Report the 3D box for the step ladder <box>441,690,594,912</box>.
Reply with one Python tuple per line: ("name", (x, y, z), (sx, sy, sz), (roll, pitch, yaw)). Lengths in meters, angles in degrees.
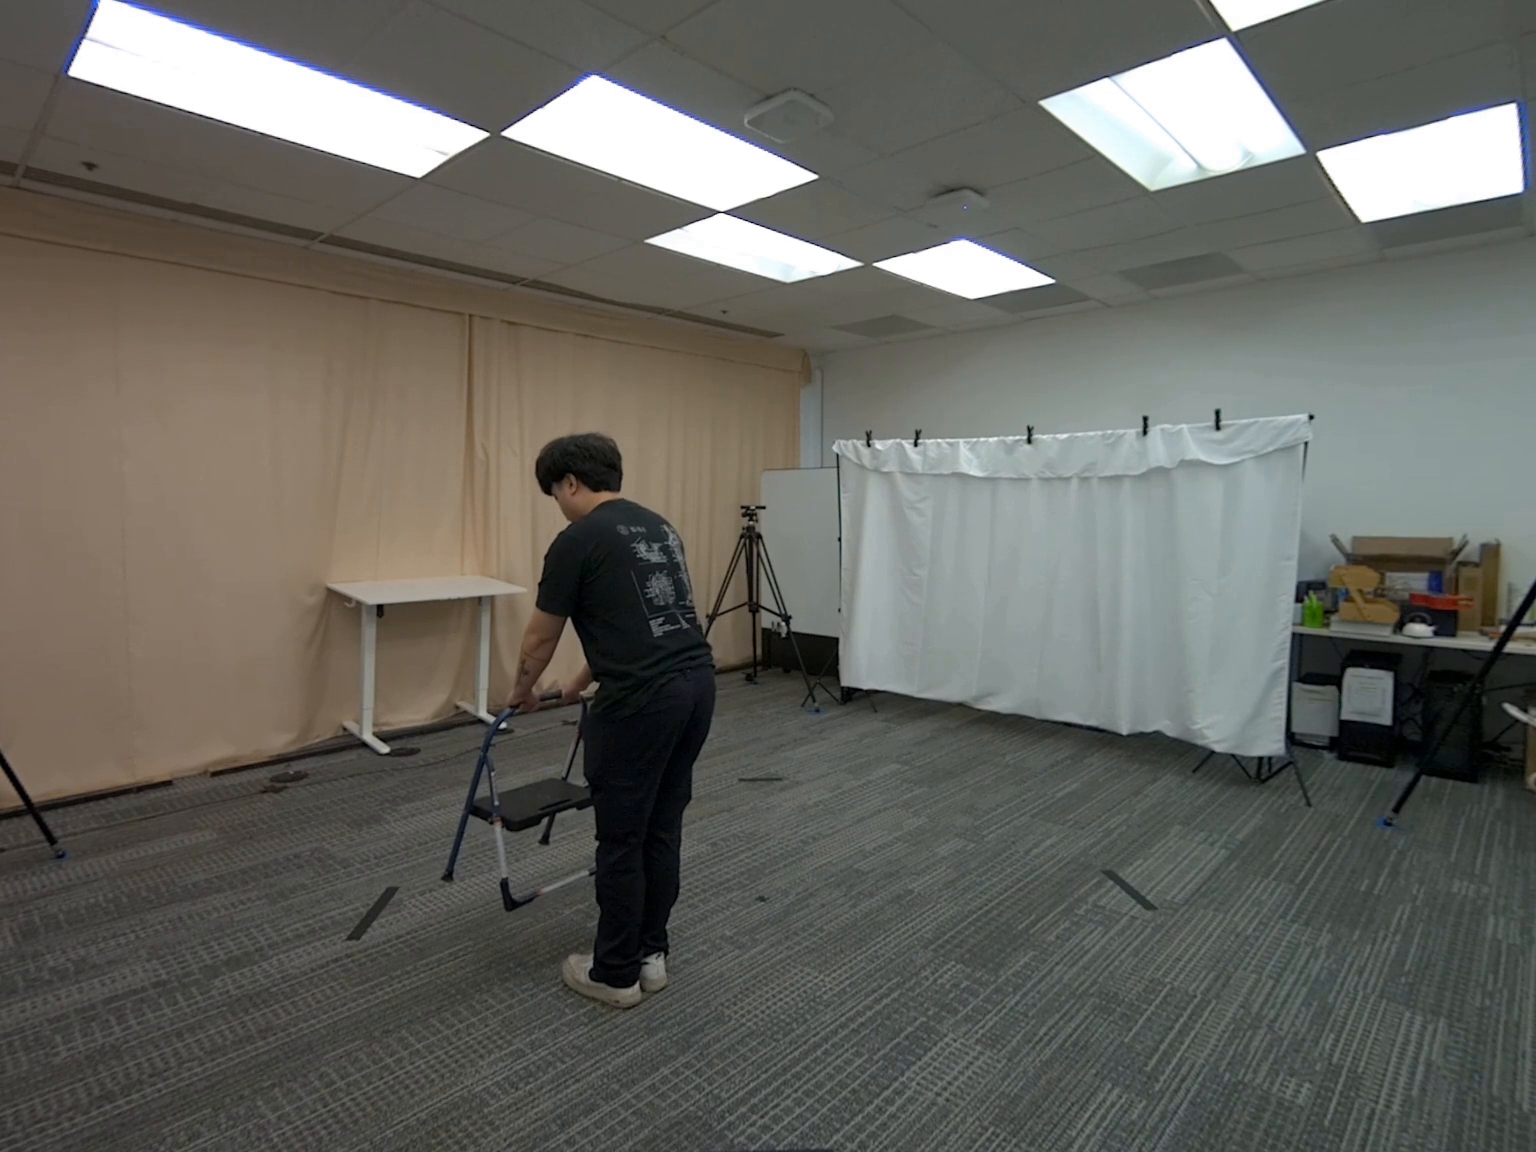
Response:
("step ladder", (-0.770, 0.675, 2.718), (0.360, 0.605, 0.418), (4, 4, 36))
